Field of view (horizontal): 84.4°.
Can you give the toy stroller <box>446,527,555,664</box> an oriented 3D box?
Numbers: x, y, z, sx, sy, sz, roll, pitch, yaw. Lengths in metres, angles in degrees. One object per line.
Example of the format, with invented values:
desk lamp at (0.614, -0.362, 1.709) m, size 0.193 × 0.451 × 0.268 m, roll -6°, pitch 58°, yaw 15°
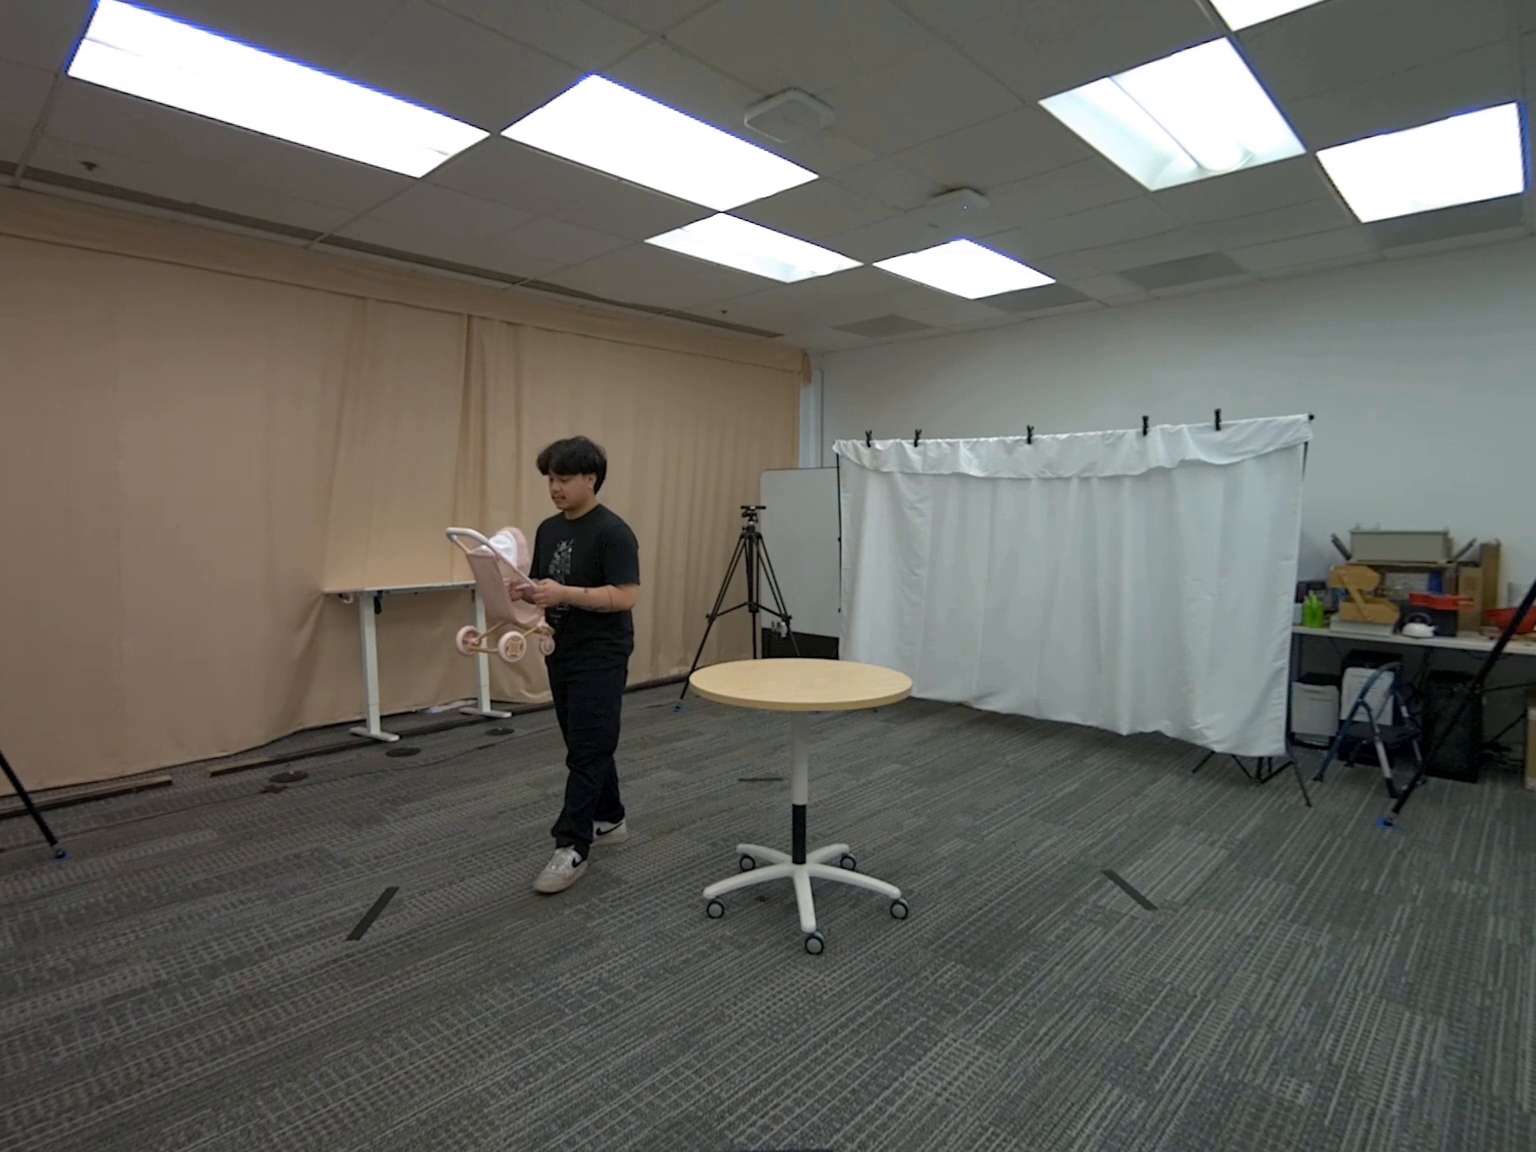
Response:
toy stroller at (-0.919, 0.066, 3.012) m, size 0.291 × 0.531 × 0.332 m, roll 2°, pitch 13°, yaw 42°
